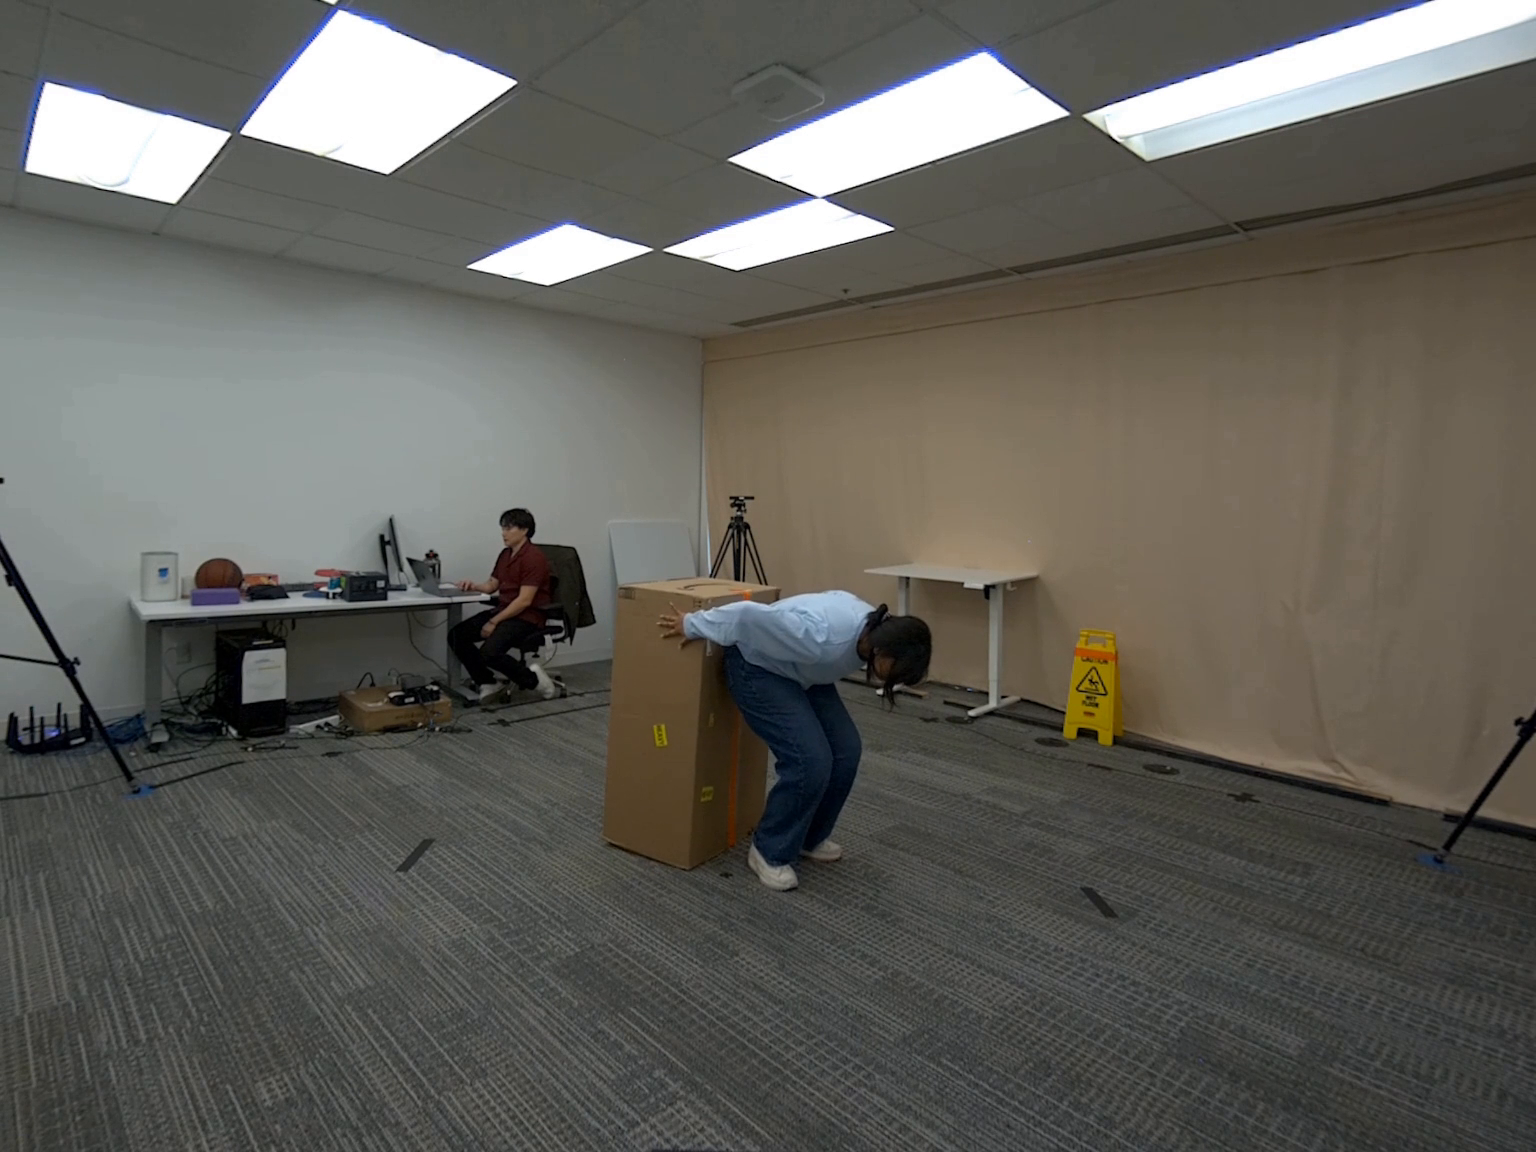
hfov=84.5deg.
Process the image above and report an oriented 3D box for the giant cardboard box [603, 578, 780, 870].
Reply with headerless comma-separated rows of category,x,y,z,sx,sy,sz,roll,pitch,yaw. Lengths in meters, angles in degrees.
giant cardboard box,-0.309,0.552,3.449,0.436,1.023,0.565,6,4,31
